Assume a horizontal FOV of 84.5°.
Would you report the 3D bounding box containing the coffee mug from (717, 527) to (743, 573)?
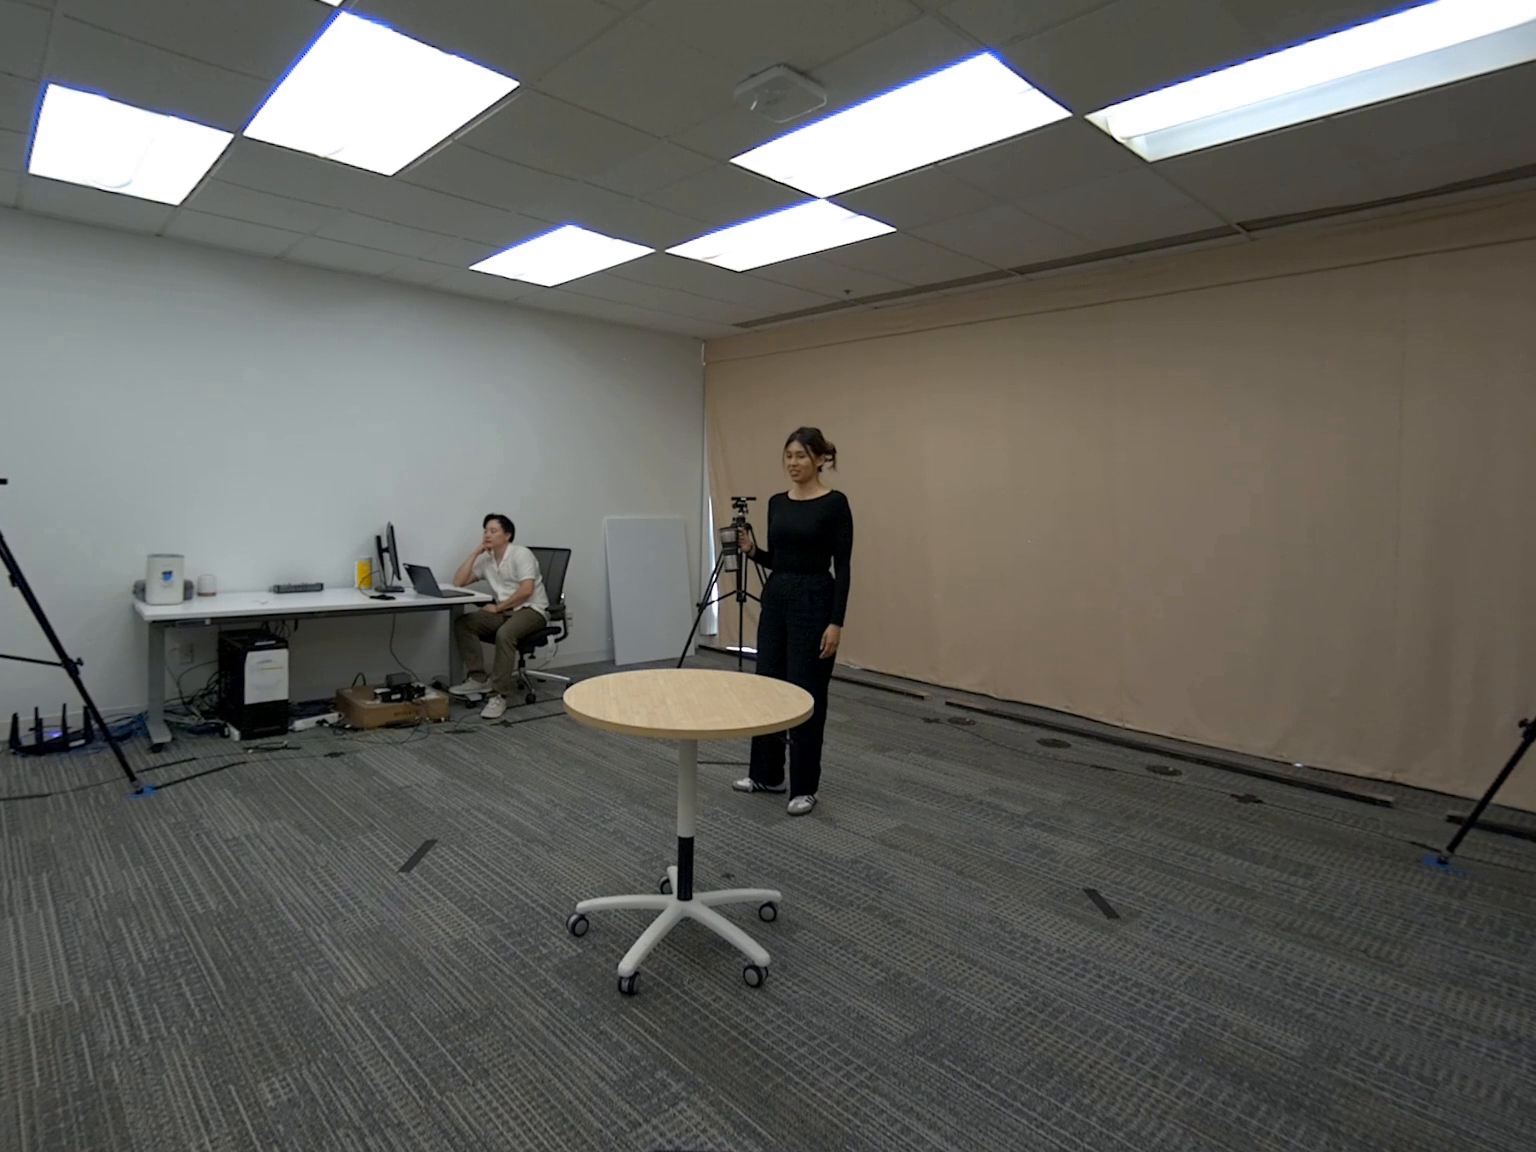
[{"bbox_3d":[-0.151,-0.121,3.726,0.120,0.203,0.089,-9,1,-32],"label":"coffee mug"}]
